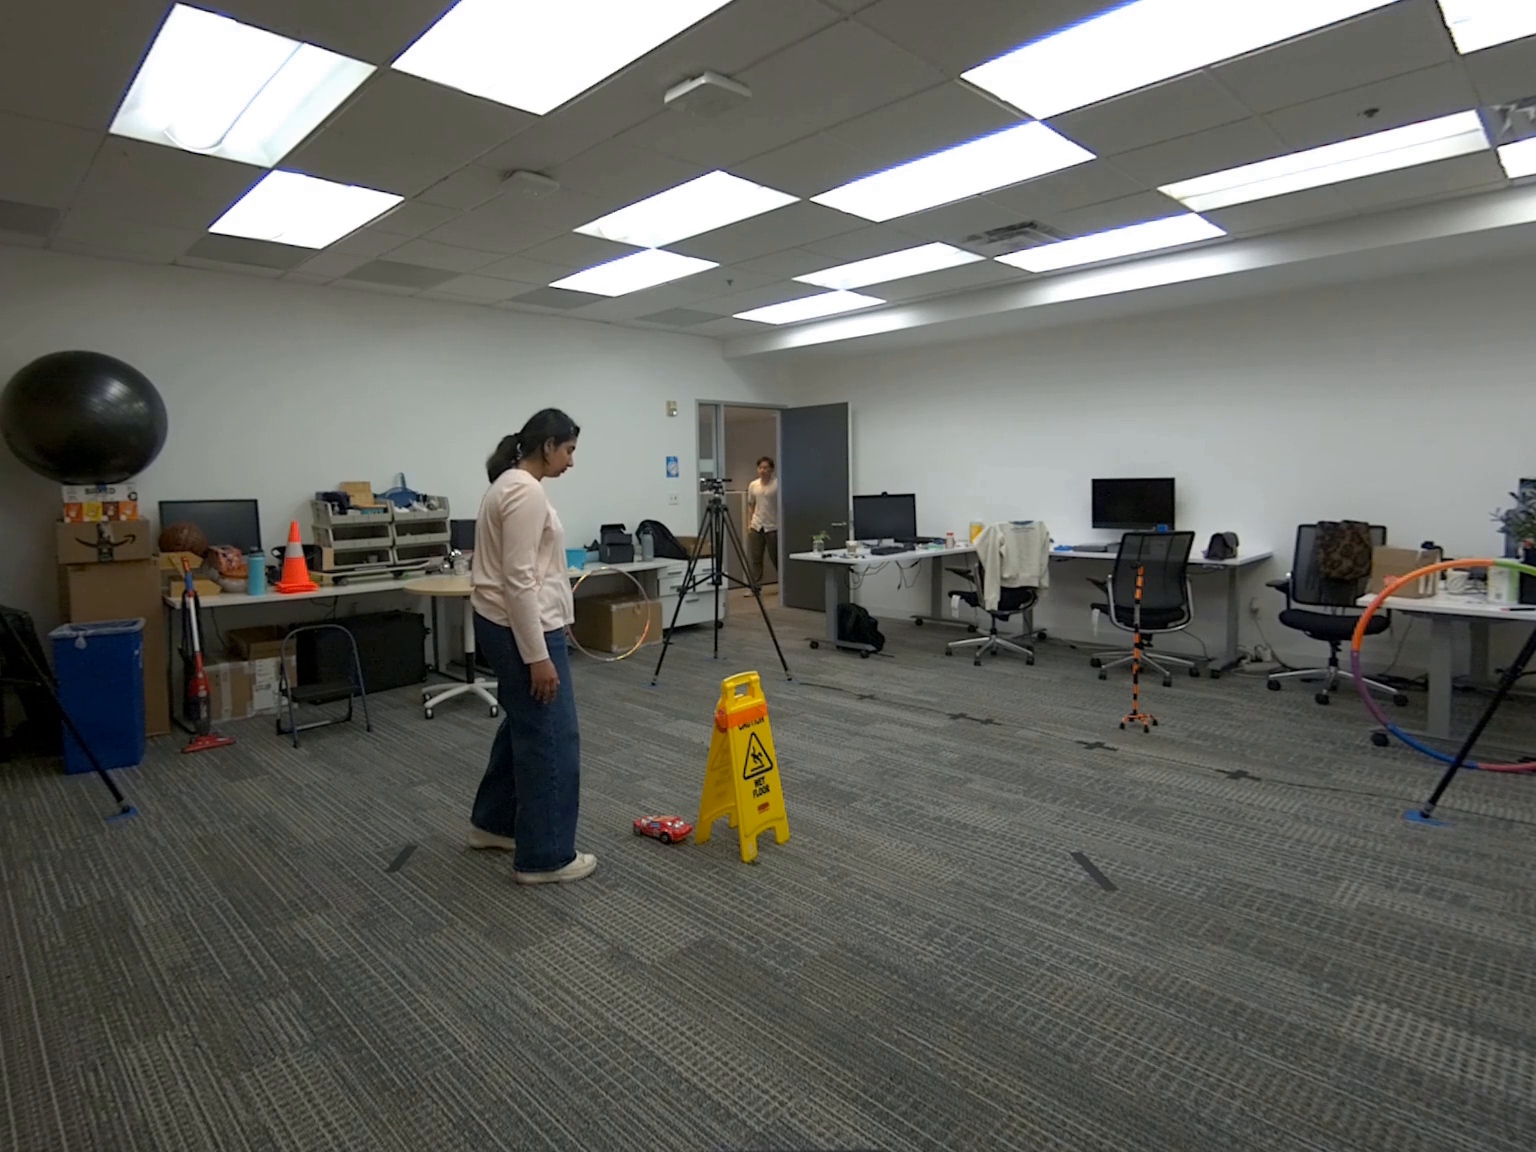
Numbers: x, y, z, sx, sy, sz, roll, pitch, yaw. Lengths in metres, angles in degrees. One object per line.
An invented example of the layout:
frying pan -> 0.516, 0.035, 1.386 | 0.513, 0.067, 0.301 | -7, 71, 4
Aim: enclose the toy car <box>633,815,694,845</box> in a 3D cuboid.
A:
toy car -> -0.403, 0.990, 3.347 | 0.260, 0.083, 0.127 | -10, -1, 35
